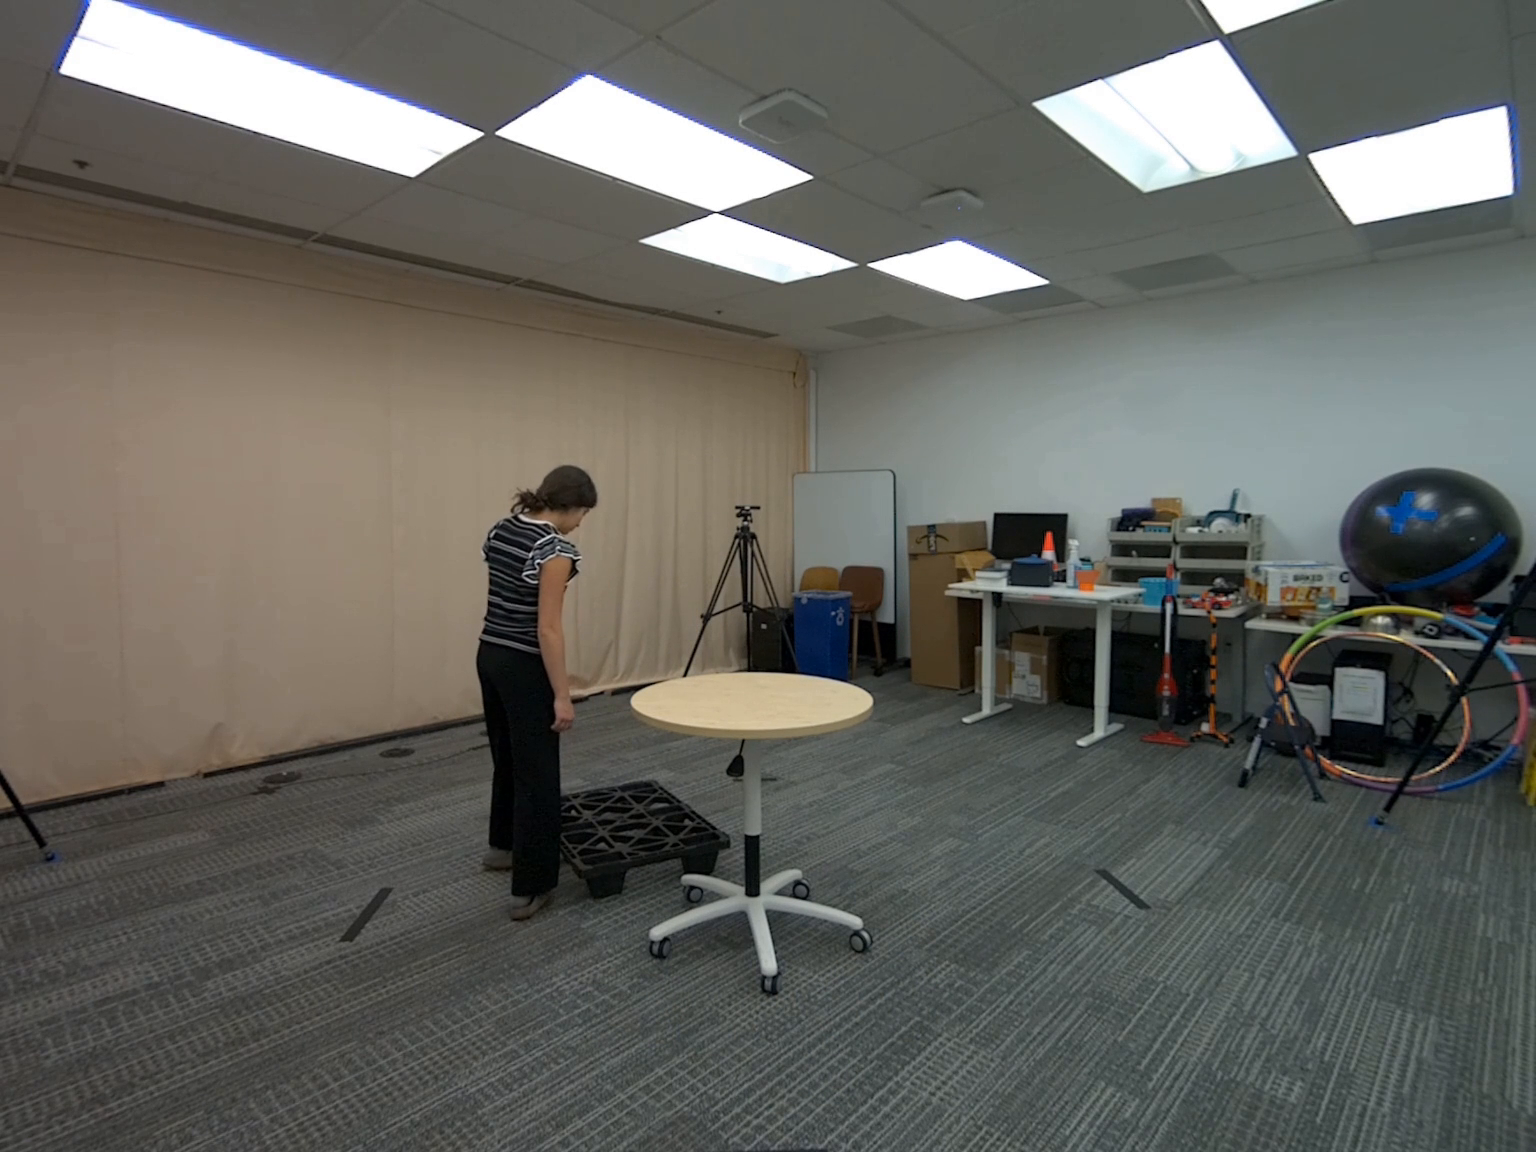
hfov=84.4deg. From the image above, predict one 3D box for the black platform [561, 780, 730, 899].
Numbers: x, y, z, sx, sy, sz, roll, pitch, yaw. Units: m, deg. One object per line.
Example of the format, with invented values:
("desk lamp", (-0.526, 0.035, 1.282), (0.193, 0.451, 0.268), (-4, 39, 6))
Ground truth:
("black platform", (-0.589, 1.047, 3.413), (0.590, 0.143, 0.828), (-3, 5, -28))
